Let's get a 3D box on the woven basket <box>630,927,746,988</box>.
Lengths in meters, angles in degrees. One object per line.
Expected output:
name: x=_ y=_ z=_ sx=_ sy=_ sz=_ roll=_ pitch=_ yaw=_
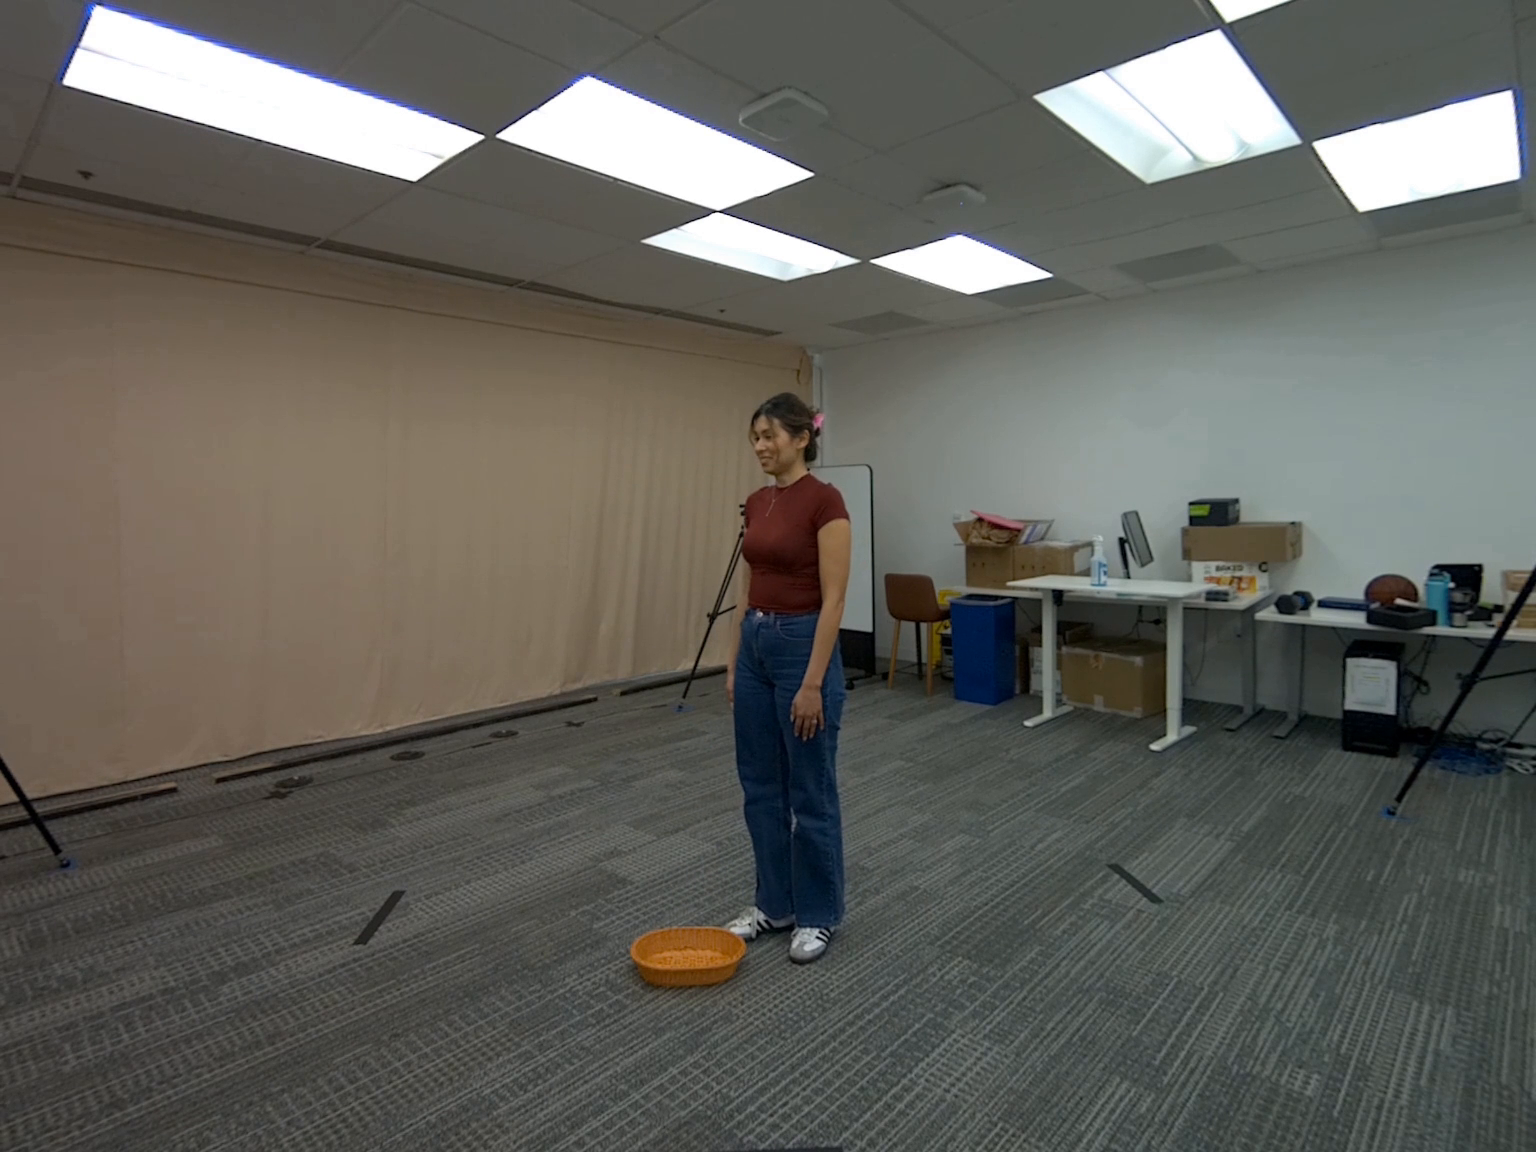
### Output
woven basket: x=-0.238 y=1.145 z=2.527 sx=0.350 sy=0.073 sz=0.253 roll=-1 pitch=4 yaw=-1
